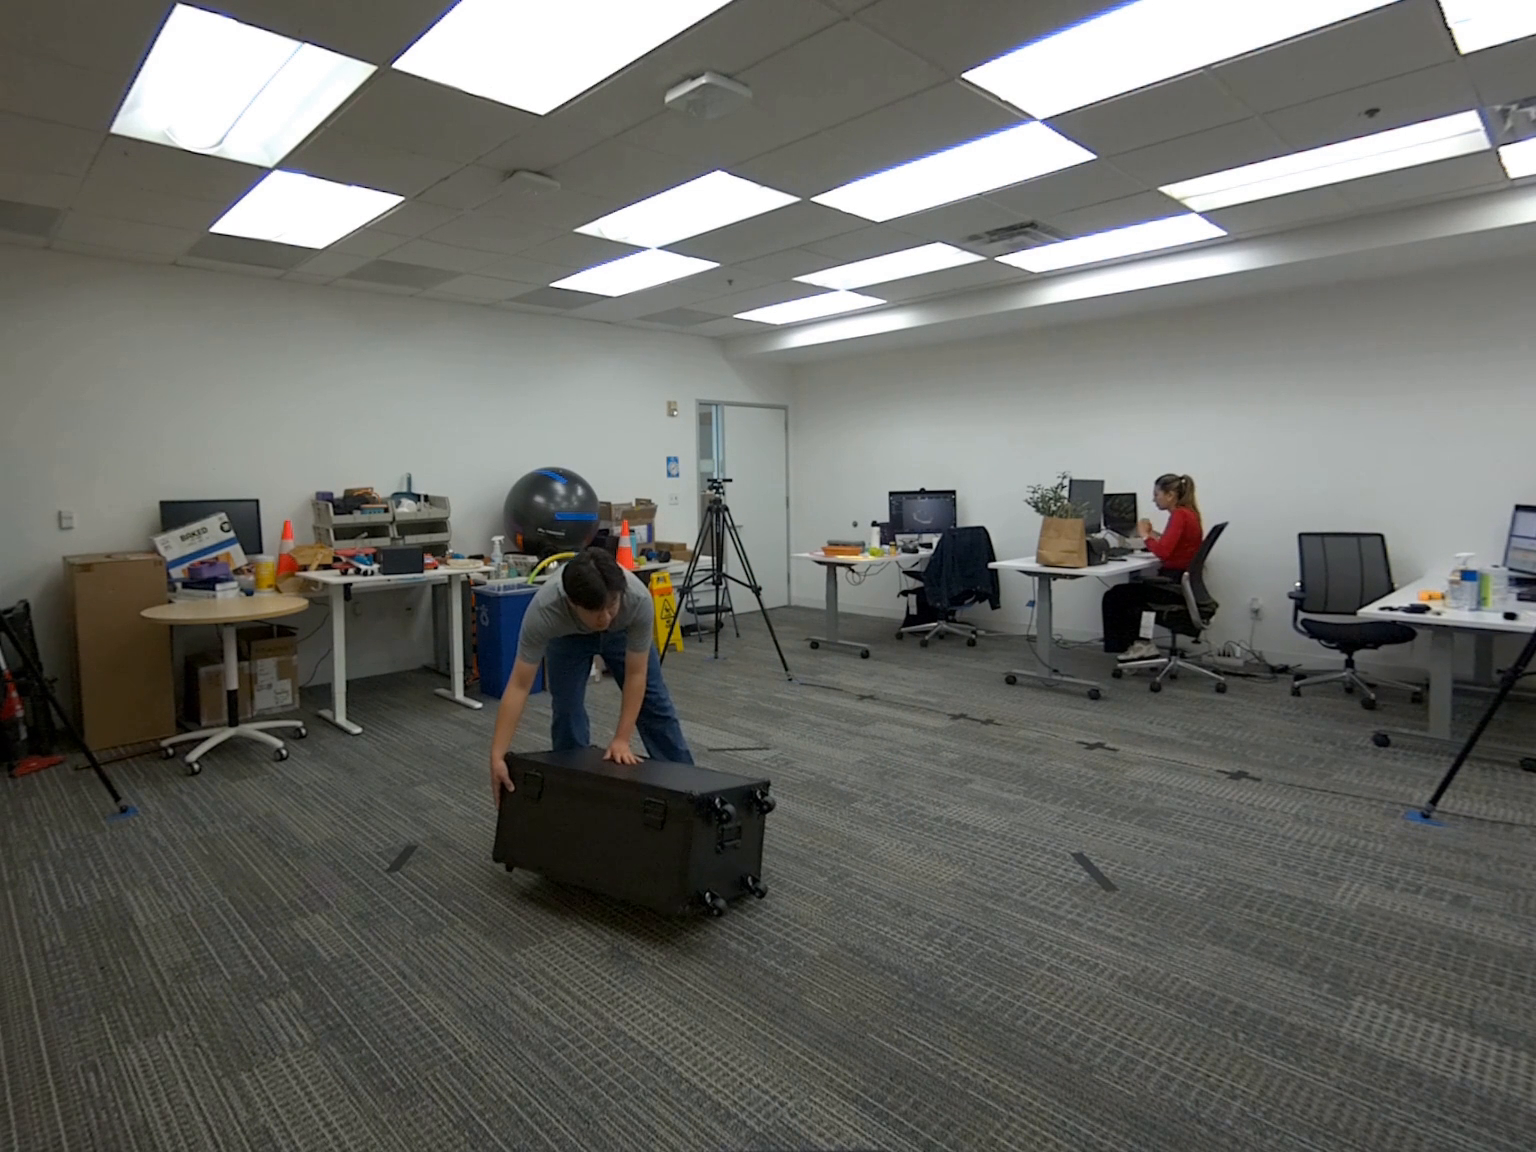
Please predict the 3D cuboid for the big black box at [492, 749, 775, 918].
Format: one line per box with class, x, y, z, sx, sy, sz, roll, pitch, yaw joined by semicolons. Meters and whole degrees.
big black box;-0.437;0.844;2.887;0.884;0.399;0.505;2;-7;29
